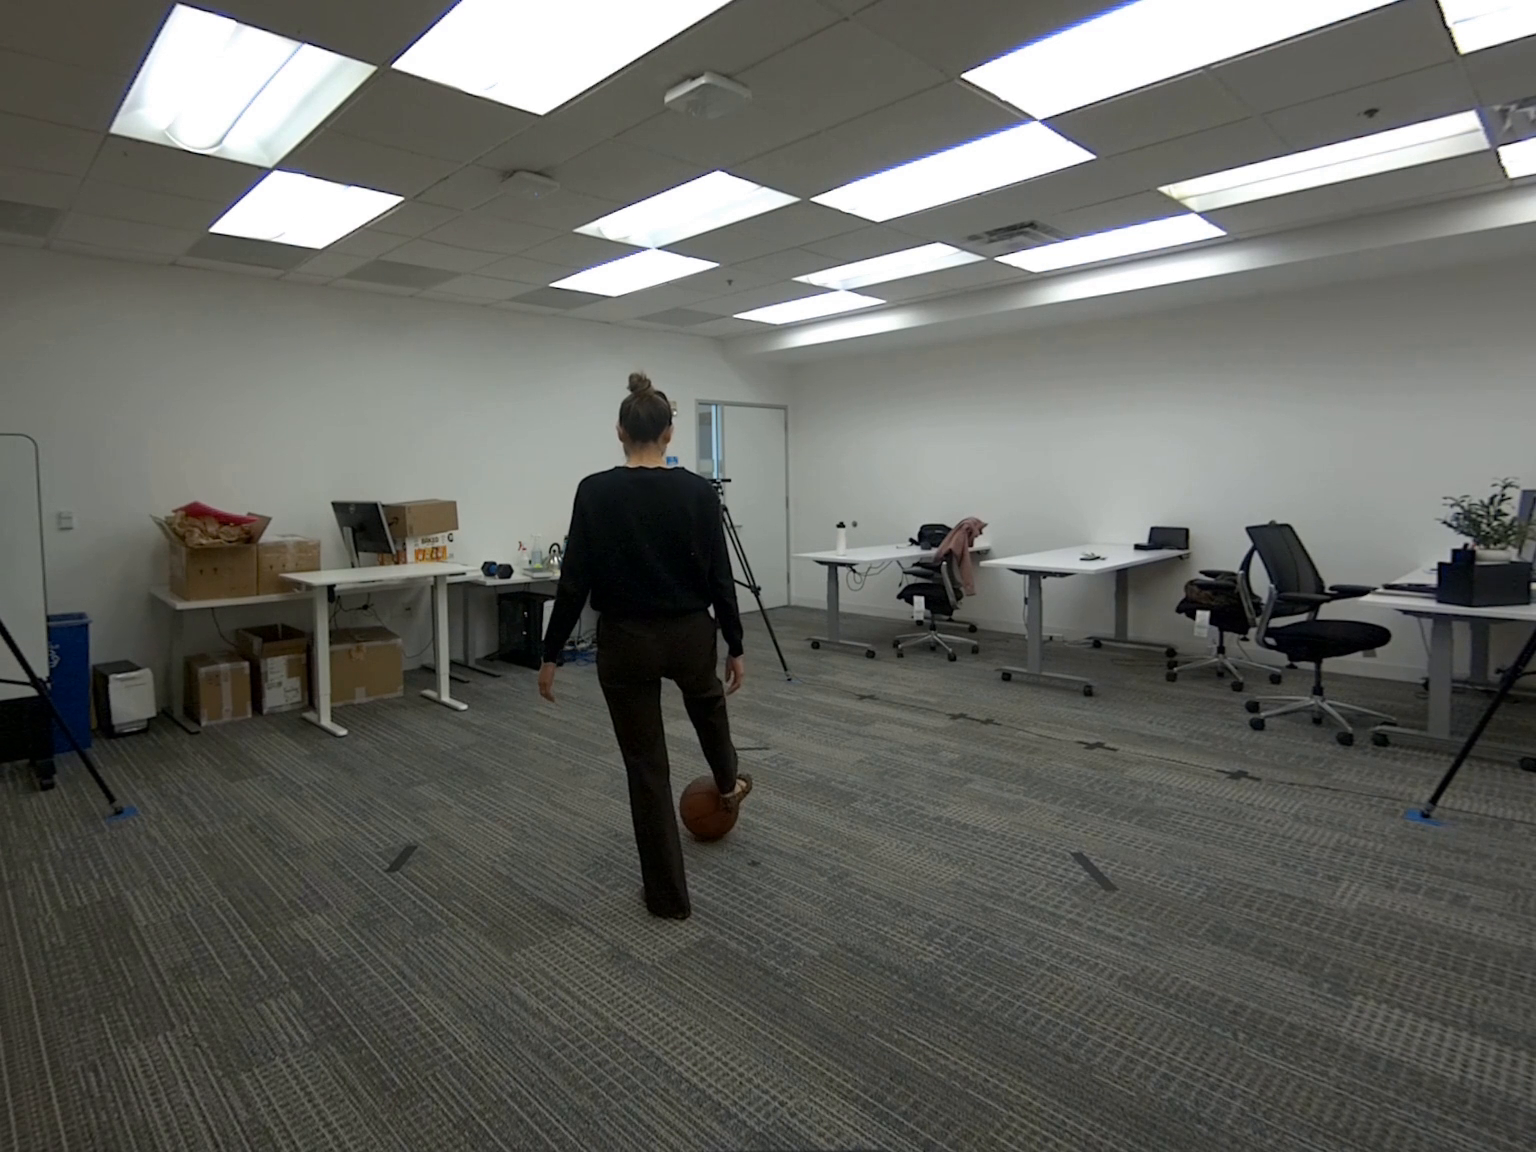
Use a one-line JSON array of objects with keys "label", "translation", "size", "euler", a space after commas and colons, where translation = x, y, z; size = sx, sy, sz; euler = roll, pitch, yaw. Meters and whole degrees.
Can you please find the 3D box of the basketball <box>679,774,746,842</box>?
[{"label": "basketball", "translation": [-0.241, 0.903, 3.339], "size": [0.236, 0.235, 0.237], "euler": [-1, 5, -2]}]
